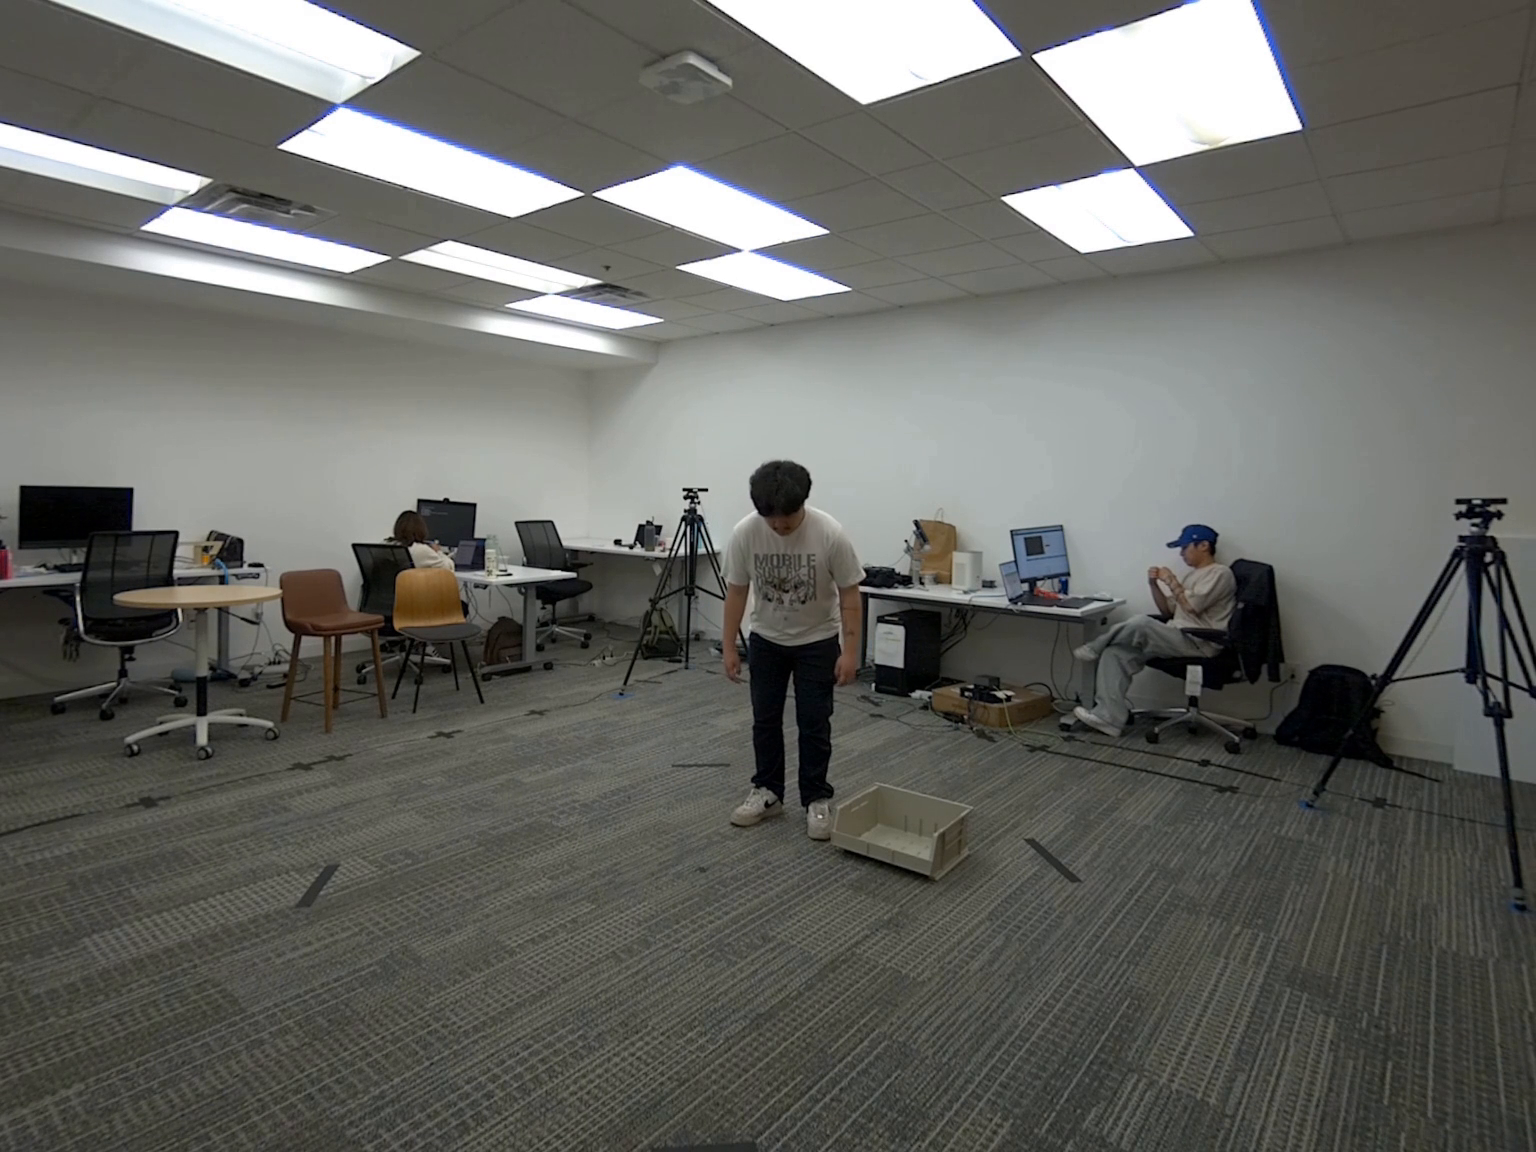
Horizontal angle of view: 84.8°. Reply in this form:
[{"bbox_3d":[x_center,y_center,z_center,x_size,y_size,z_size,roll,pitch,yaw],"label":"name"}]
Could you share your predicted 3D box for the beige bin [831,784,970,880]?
[{"bbox_3d":[0.513,0.980,3.291,0.436,0.188,0.366,4,5,36],"label":"beige bin"}]
